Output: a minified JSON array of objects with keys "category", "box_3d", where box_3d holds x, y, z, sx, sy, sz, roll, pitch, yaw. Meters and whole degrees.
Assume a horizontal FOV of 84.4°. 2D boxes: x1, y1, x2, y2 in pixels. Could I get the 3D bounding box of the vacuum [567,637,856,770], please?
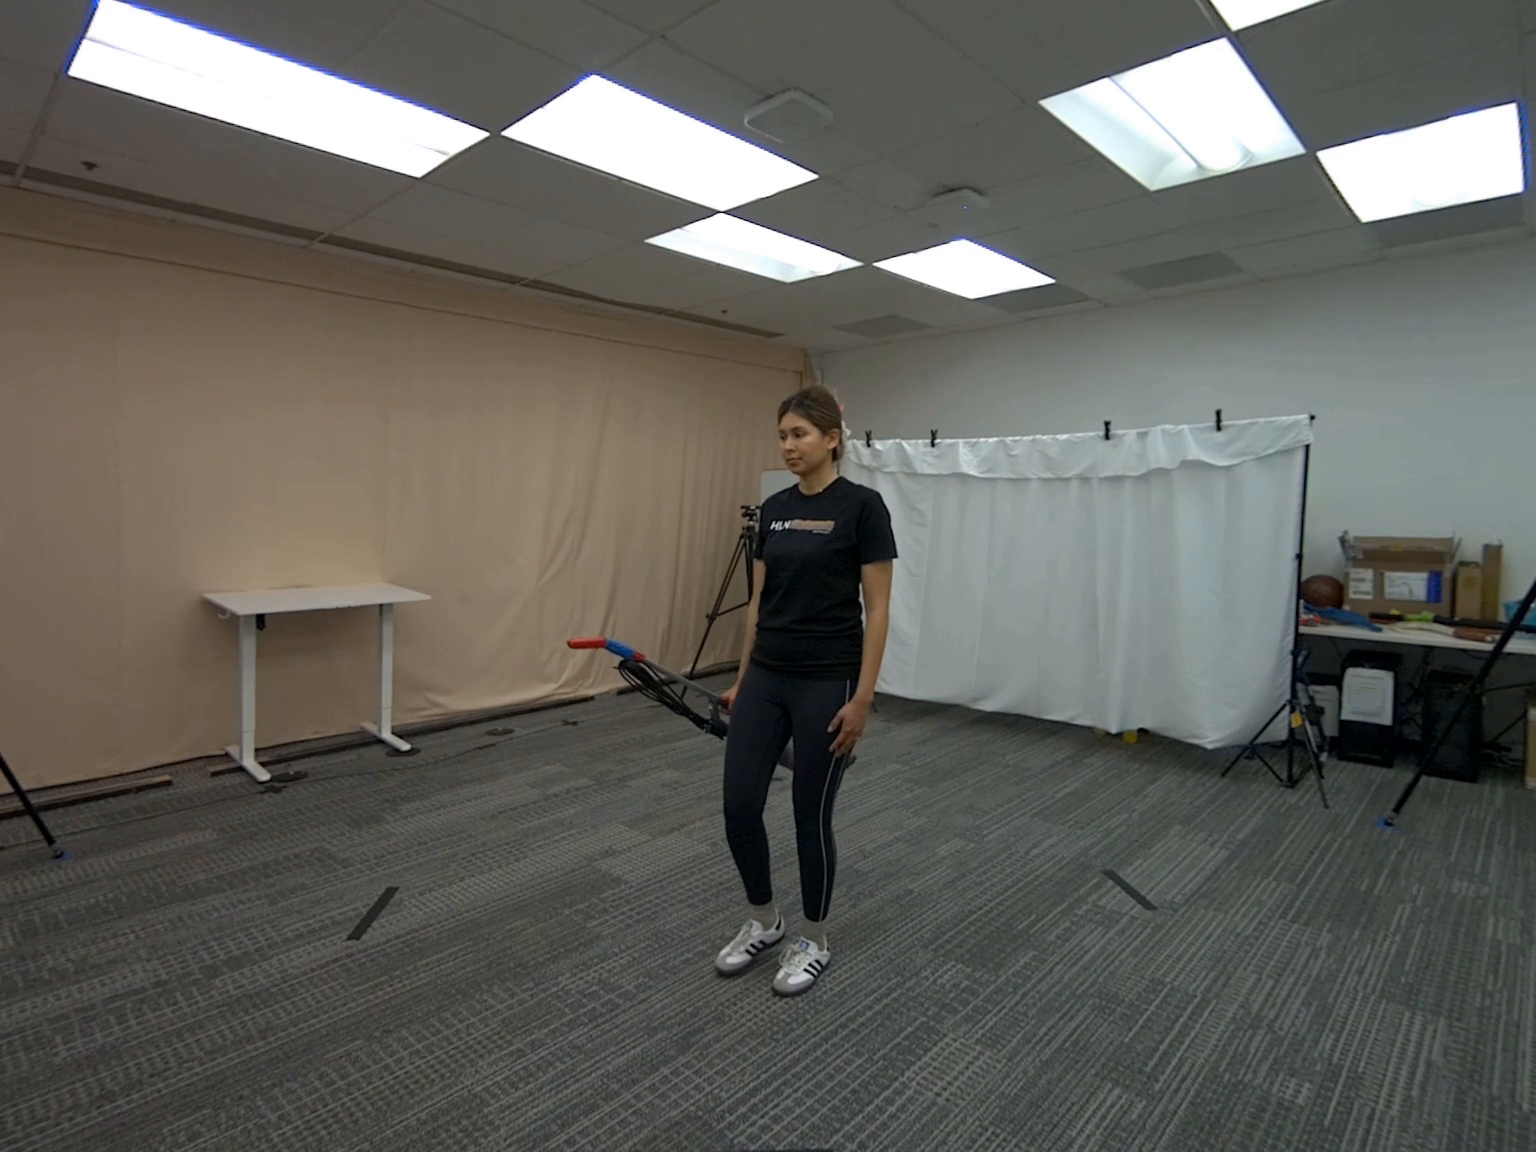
[{"category":"vacuum","box_3d":[-0.183,0.418,2.591,1.015,0.144,0.261,32,-13,-32]}]
